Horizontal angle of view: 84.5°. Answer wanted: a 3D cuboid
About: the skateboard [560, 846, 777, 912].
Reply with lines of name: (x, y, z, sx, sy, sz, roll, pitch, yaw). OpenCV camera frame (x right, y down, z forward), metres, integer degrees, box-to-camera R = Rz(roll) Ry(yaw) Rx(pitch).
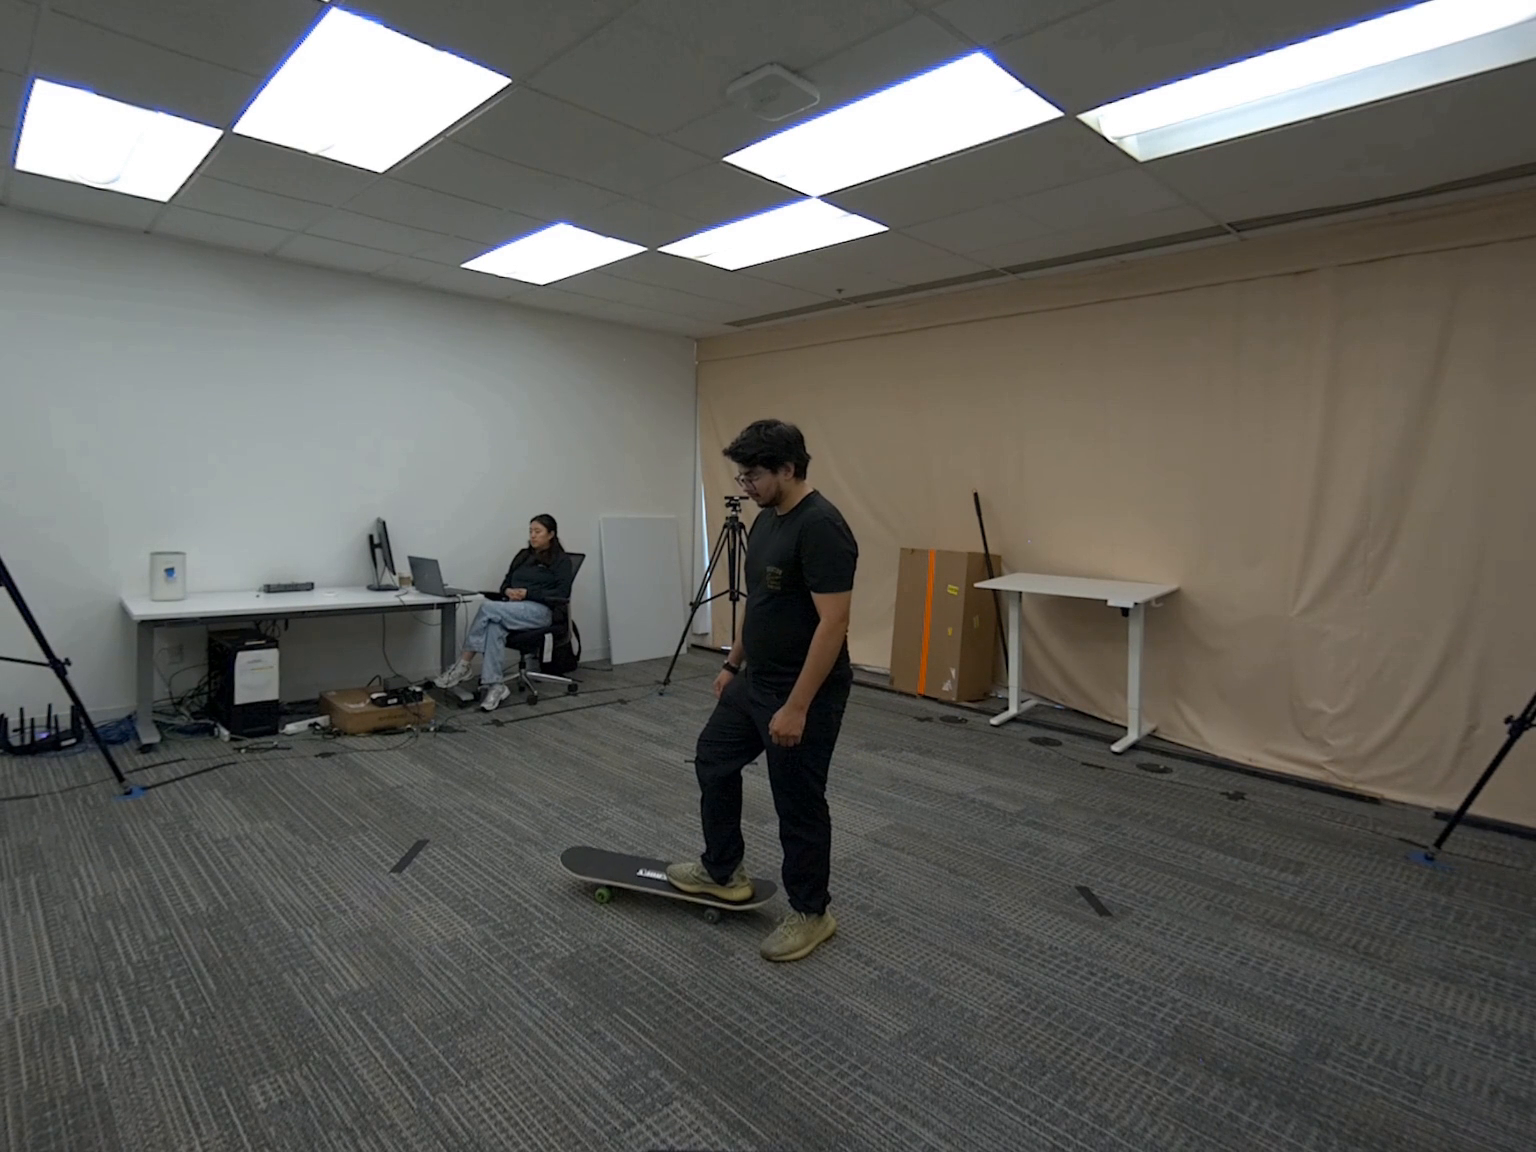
skateboard: (-0.365, 1.066, 2.877, 0.796, 0.110, 0.192, 4, 8, 17)
